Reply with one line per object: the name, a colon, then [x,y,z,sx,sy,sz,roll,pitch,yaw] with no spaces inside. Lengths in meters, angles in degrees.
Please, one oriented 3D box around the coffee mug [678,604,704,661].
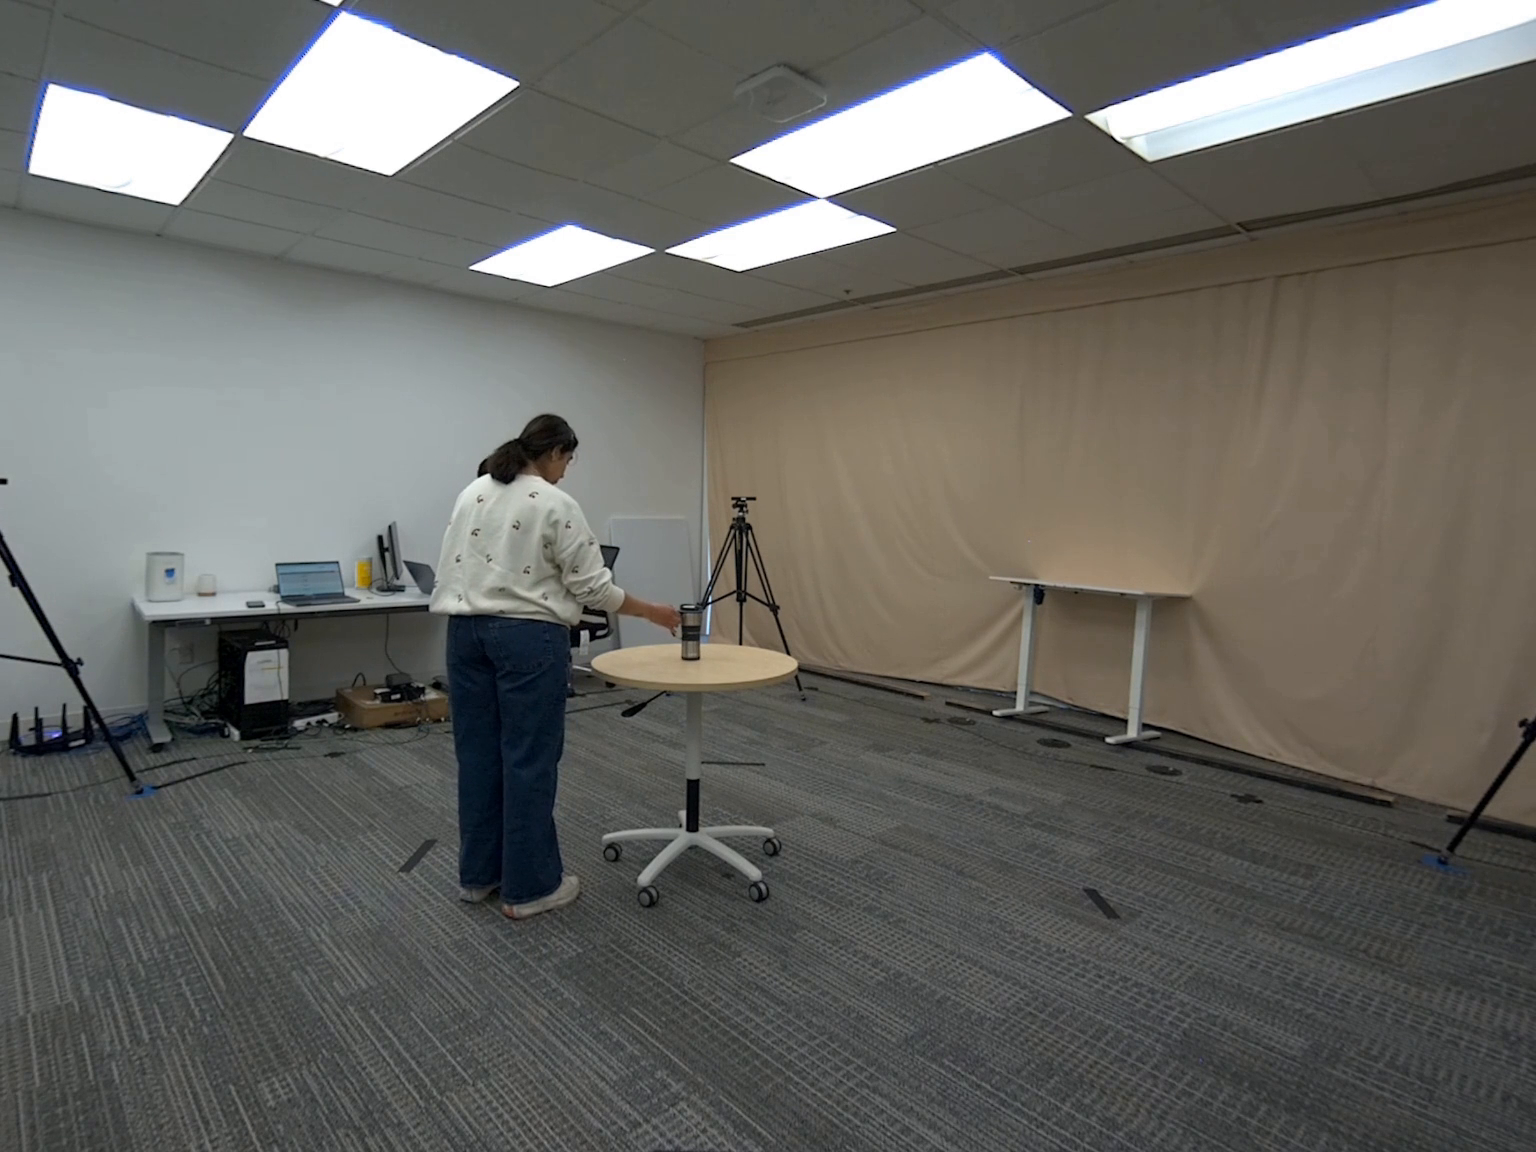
coffee mug: [-0.318,0.215,3.178,0.124,0.202,0.087,4,5,17]
